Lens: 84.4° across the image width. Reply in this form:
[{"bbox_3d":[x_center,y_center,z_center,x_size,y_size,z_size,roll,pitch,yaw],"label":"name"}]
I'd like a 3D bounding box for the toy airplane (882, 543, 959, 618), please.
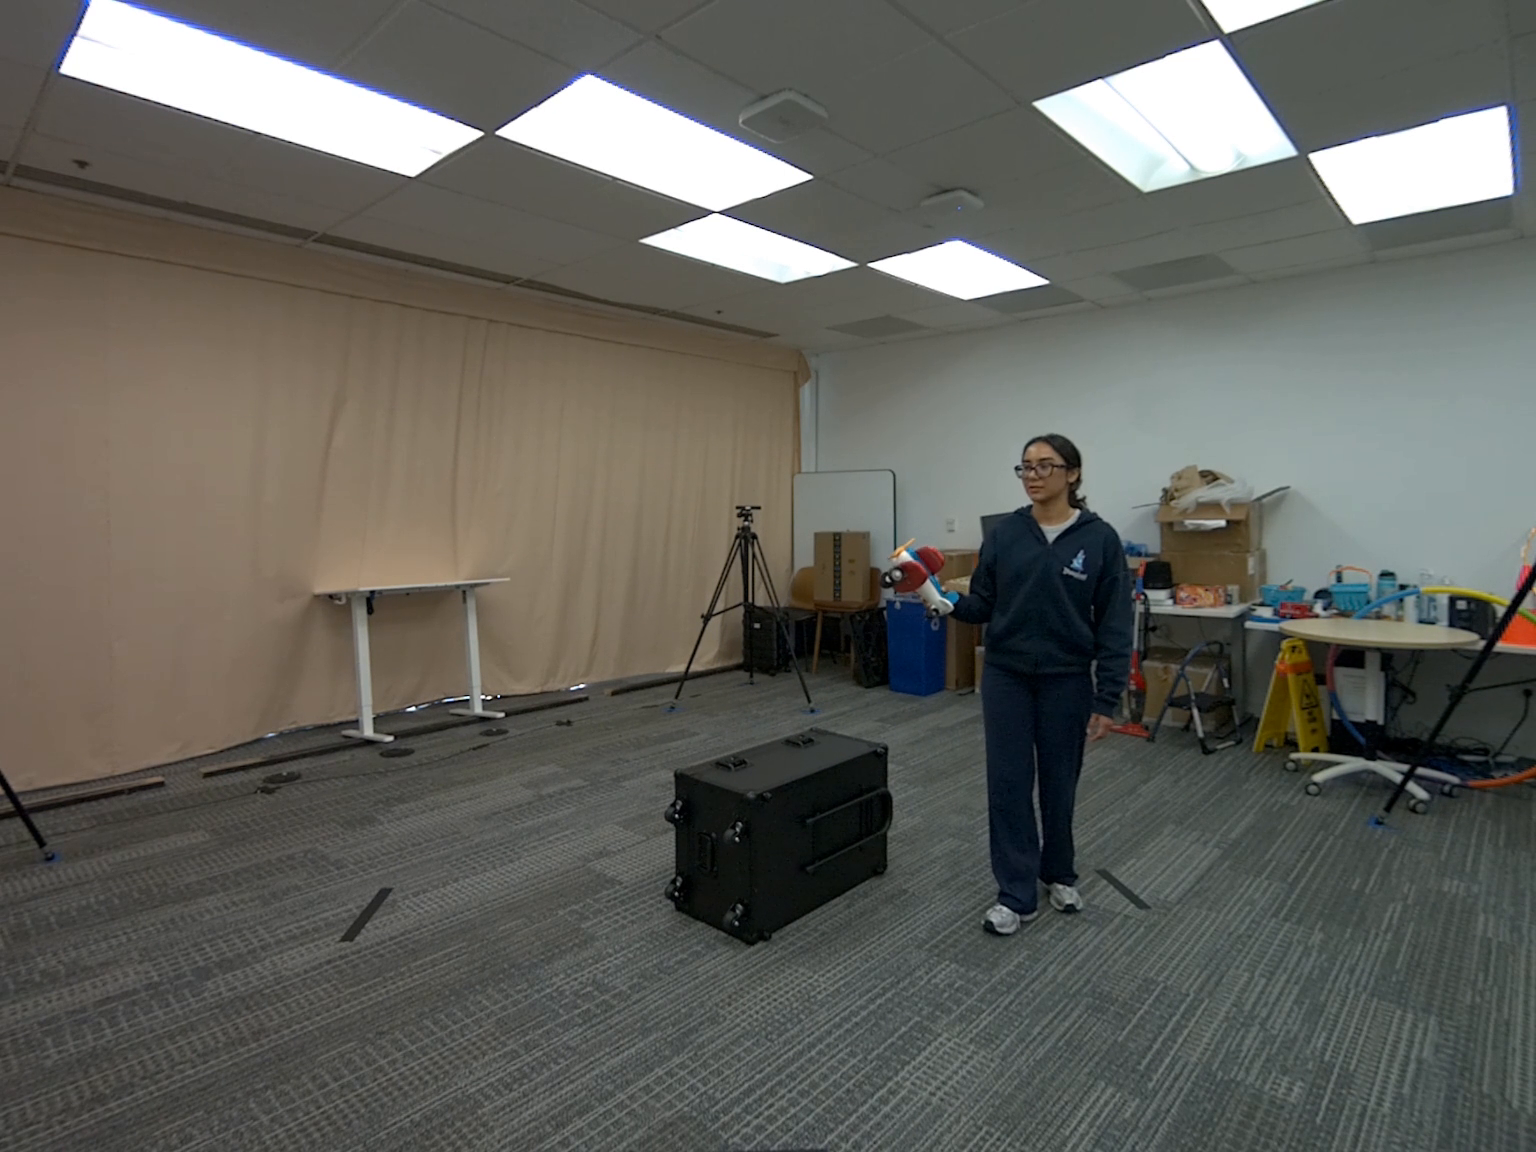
[{"bbox_3d":[0.506,0.020,2.775,0.252,0.156,0.259,49,-20,-27],"label":"toy airplane"}]
